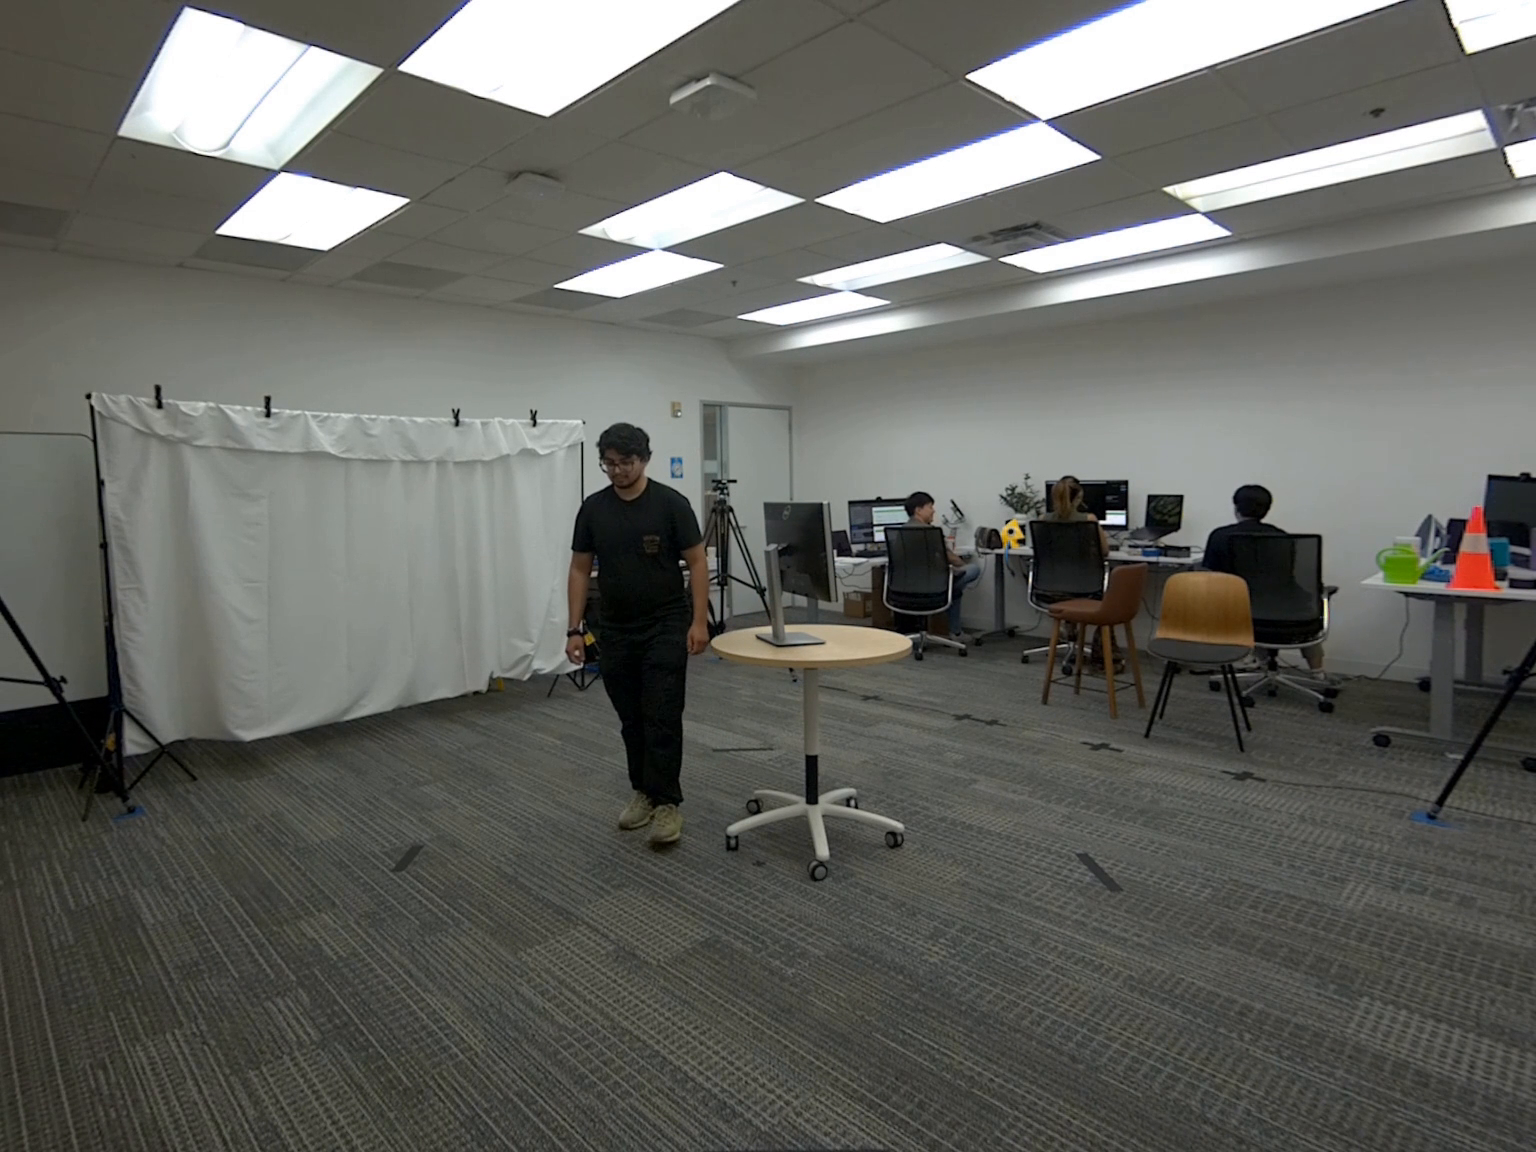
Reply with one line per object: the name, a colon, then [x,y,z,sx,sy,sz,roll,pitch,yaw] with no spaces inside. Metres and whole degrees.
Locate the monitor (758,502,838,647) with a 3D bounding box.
monitor: [0.061,-0.012,3.267,0.206,0.552,0.577,-5,5,-21]
